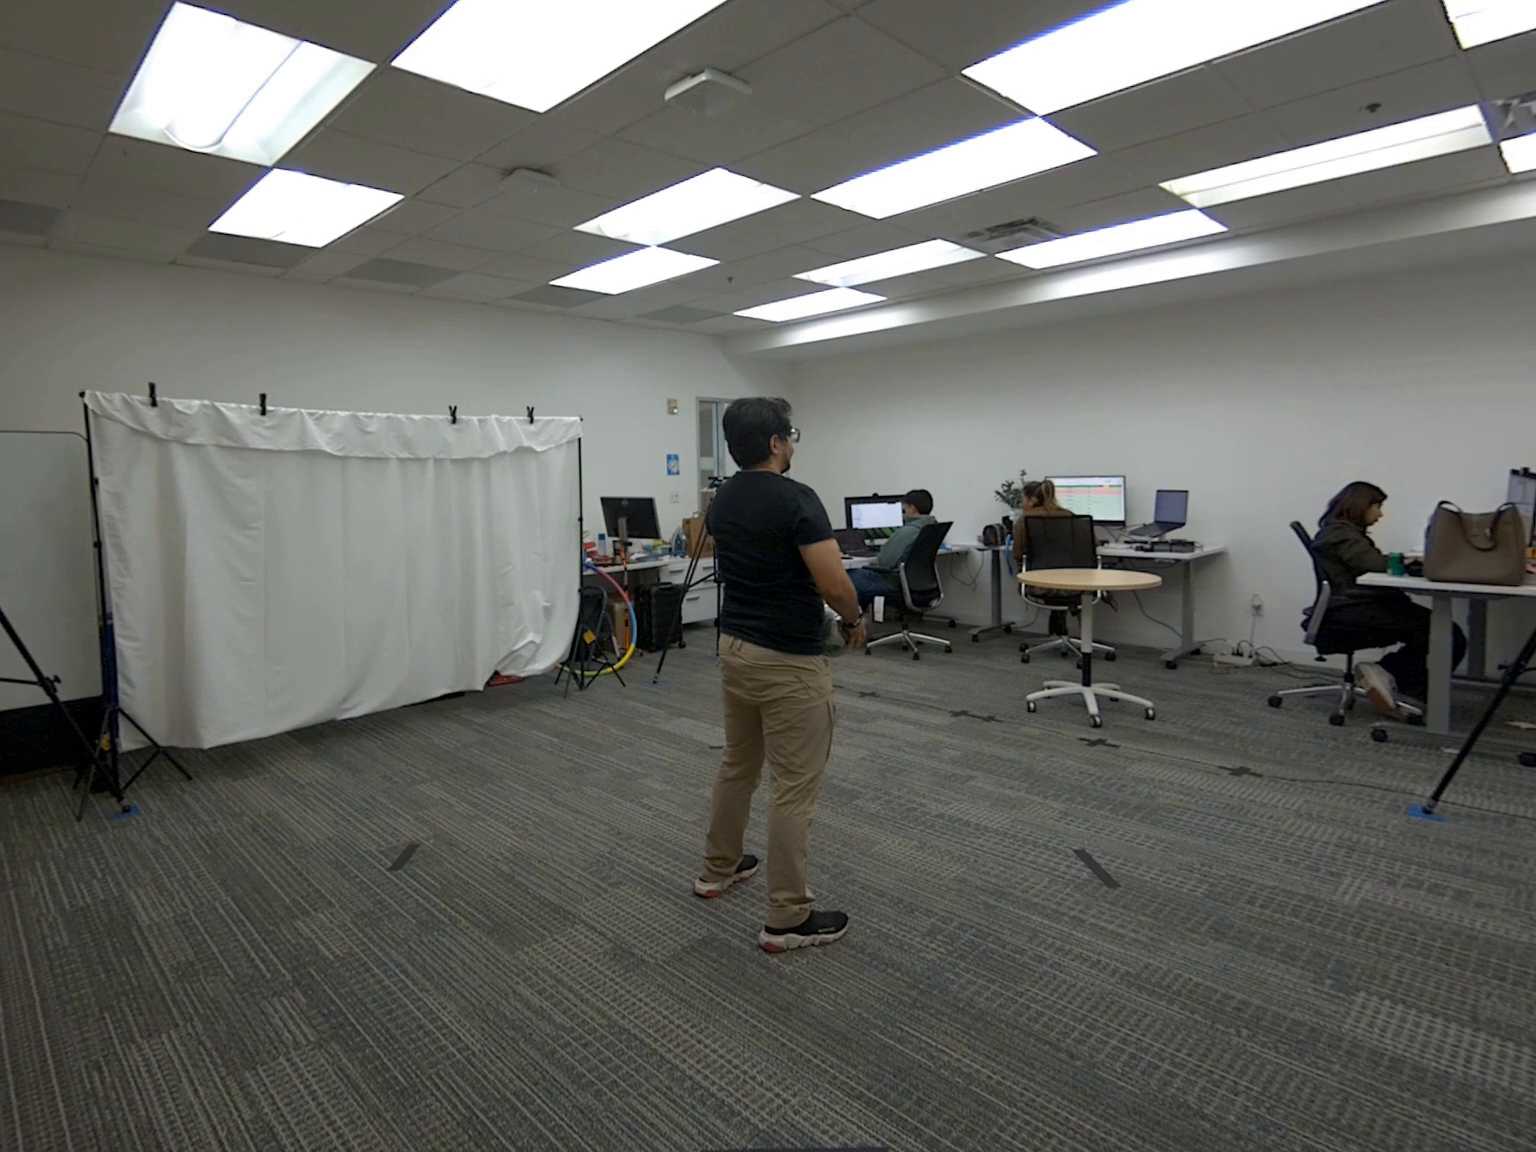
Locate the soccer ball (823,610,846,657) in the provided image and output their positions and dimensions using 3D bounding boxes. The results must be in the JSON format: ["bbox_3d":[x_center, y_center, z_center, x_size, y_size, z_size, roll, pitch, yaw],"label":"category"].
[{"bbox_3d":[0.222,0.177,2.815,0.187,0.187,0.188,-1,5,-2],"label":"soccer ball"}]
